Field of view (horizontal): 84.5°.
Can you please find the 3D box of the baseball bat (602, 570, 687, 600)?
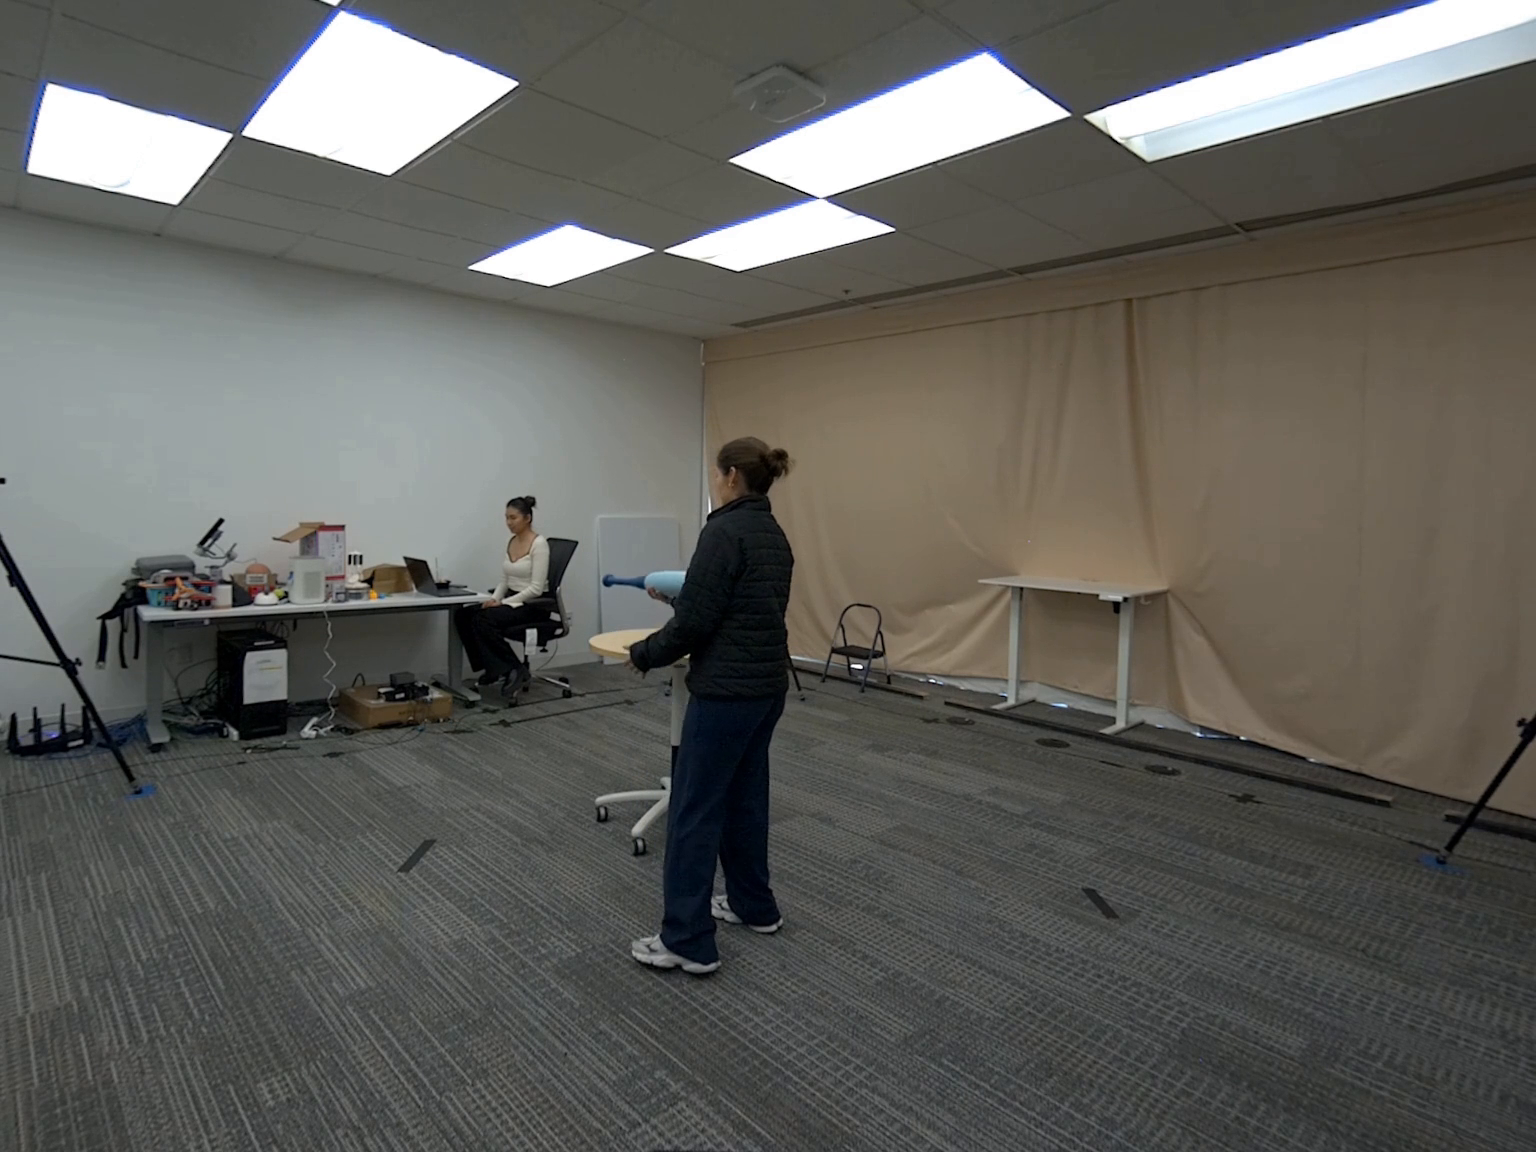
[{"bbox_3d":[-0.432,0.035,3.017,0.087,0.089,0.556,-3,2,-43],"label":"baseball bat"}]
